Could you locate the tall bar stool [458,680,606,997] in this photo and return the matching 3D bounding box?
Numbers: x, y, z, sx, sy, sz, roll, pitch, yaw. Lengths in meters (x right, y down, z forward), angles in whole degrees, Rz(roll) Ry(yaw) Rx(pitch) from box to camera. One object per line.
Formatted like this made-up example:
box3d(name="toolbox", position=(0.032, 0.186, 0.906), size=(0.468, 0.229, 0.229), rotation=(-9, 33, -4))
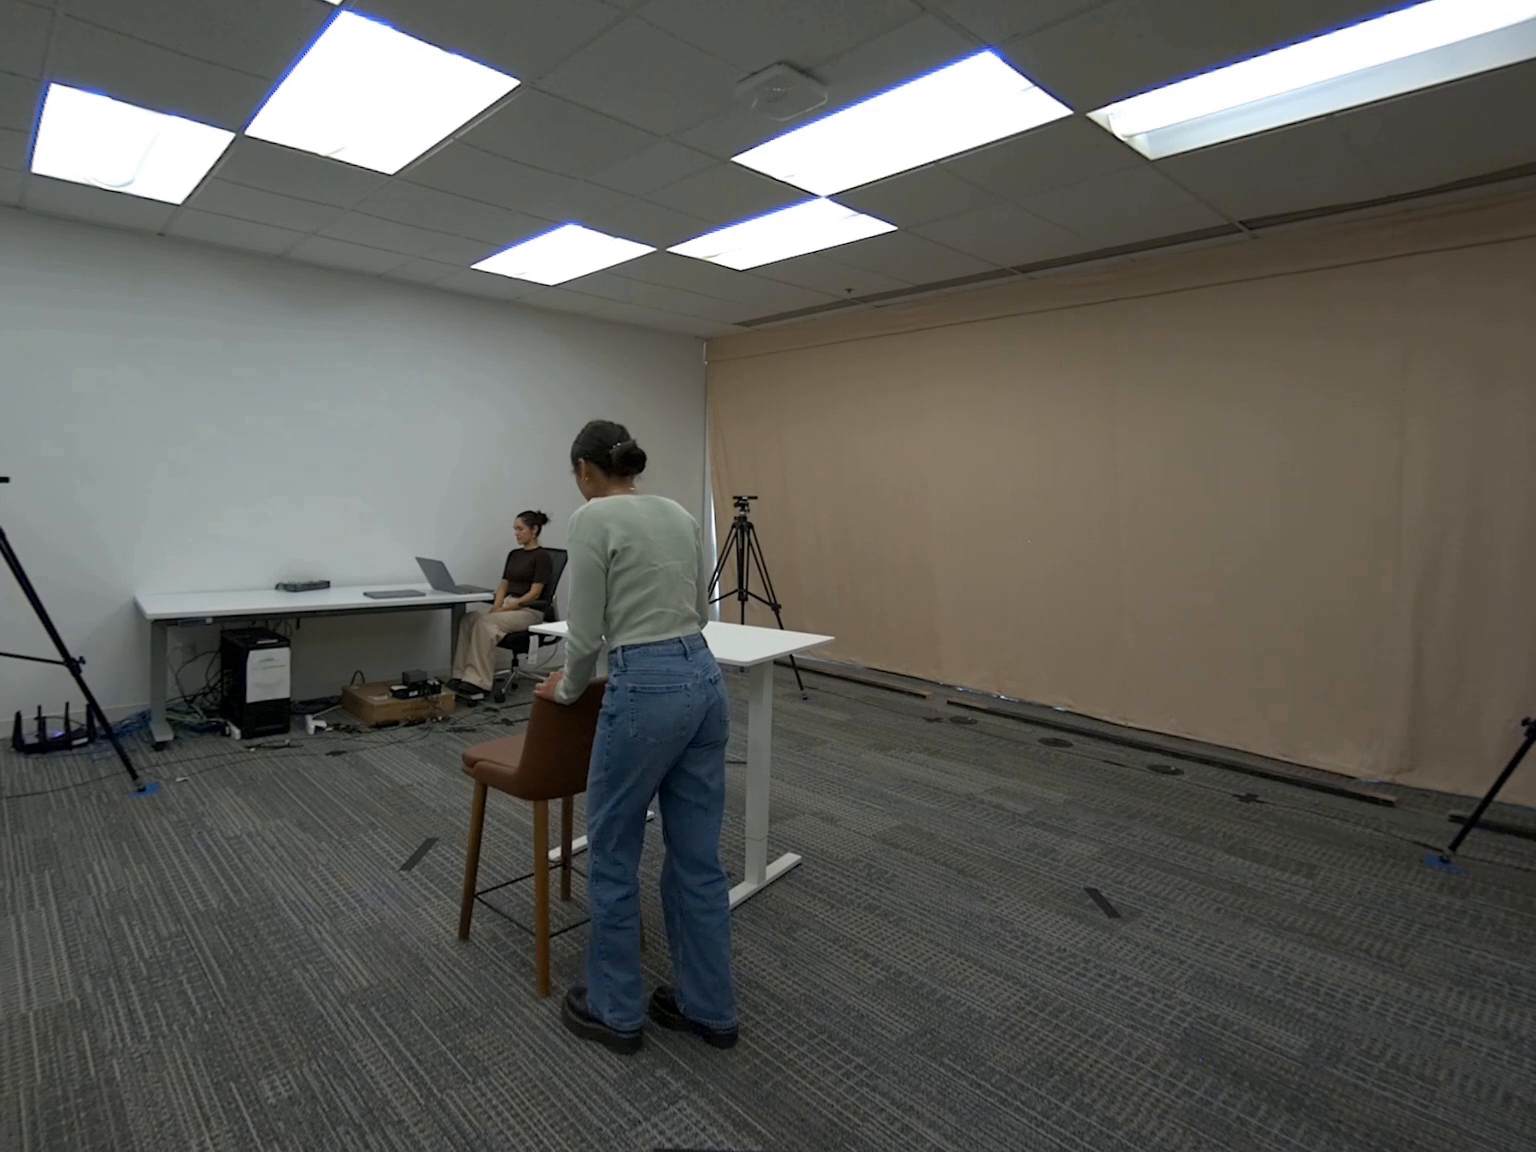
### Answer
box3d(name="tall bar stool", position=(-0.650, 0.704, 2.566), size=(0.480, 0.886, 0.446), rotation=(7, 7, 43))
